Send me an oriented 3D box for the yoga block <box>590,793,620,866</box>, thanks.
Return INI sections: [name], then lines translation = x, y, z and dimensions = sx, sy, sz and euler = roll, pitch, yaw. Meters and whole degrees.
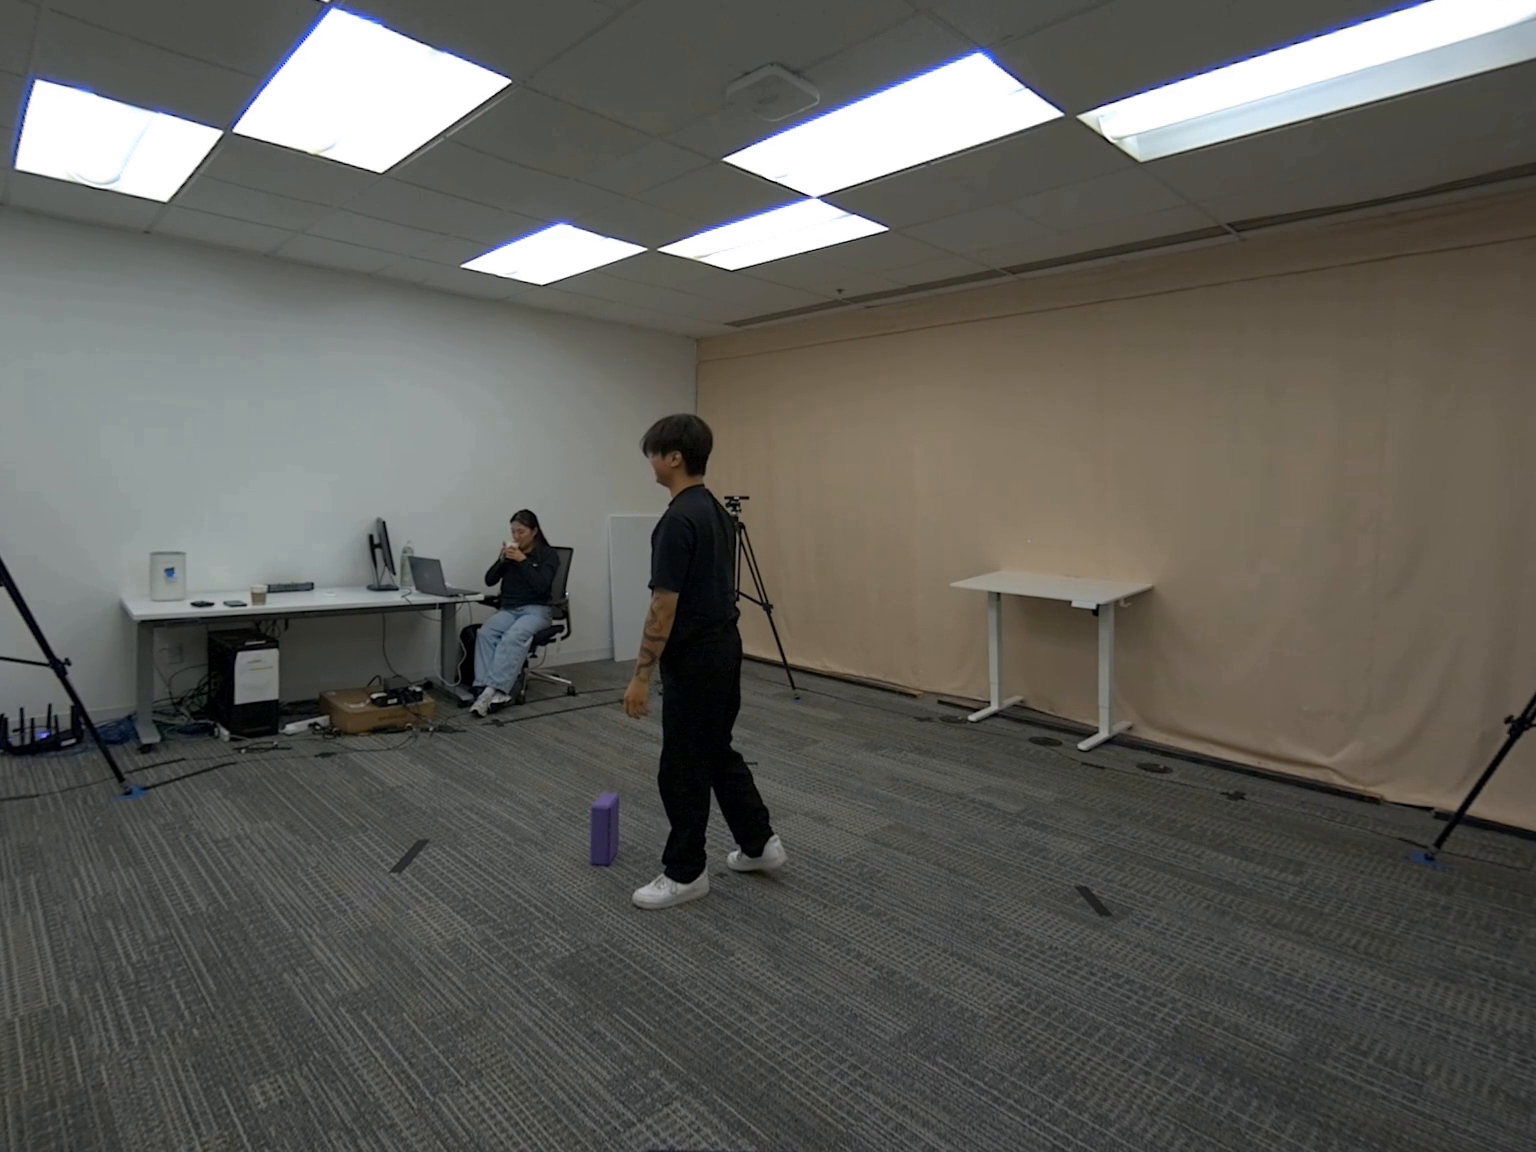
[yoga block]
translation = -0.632, 0.971, 3.221
dimensions = 0.077, 0.228, 0.149
euler = 1, 5, 4
